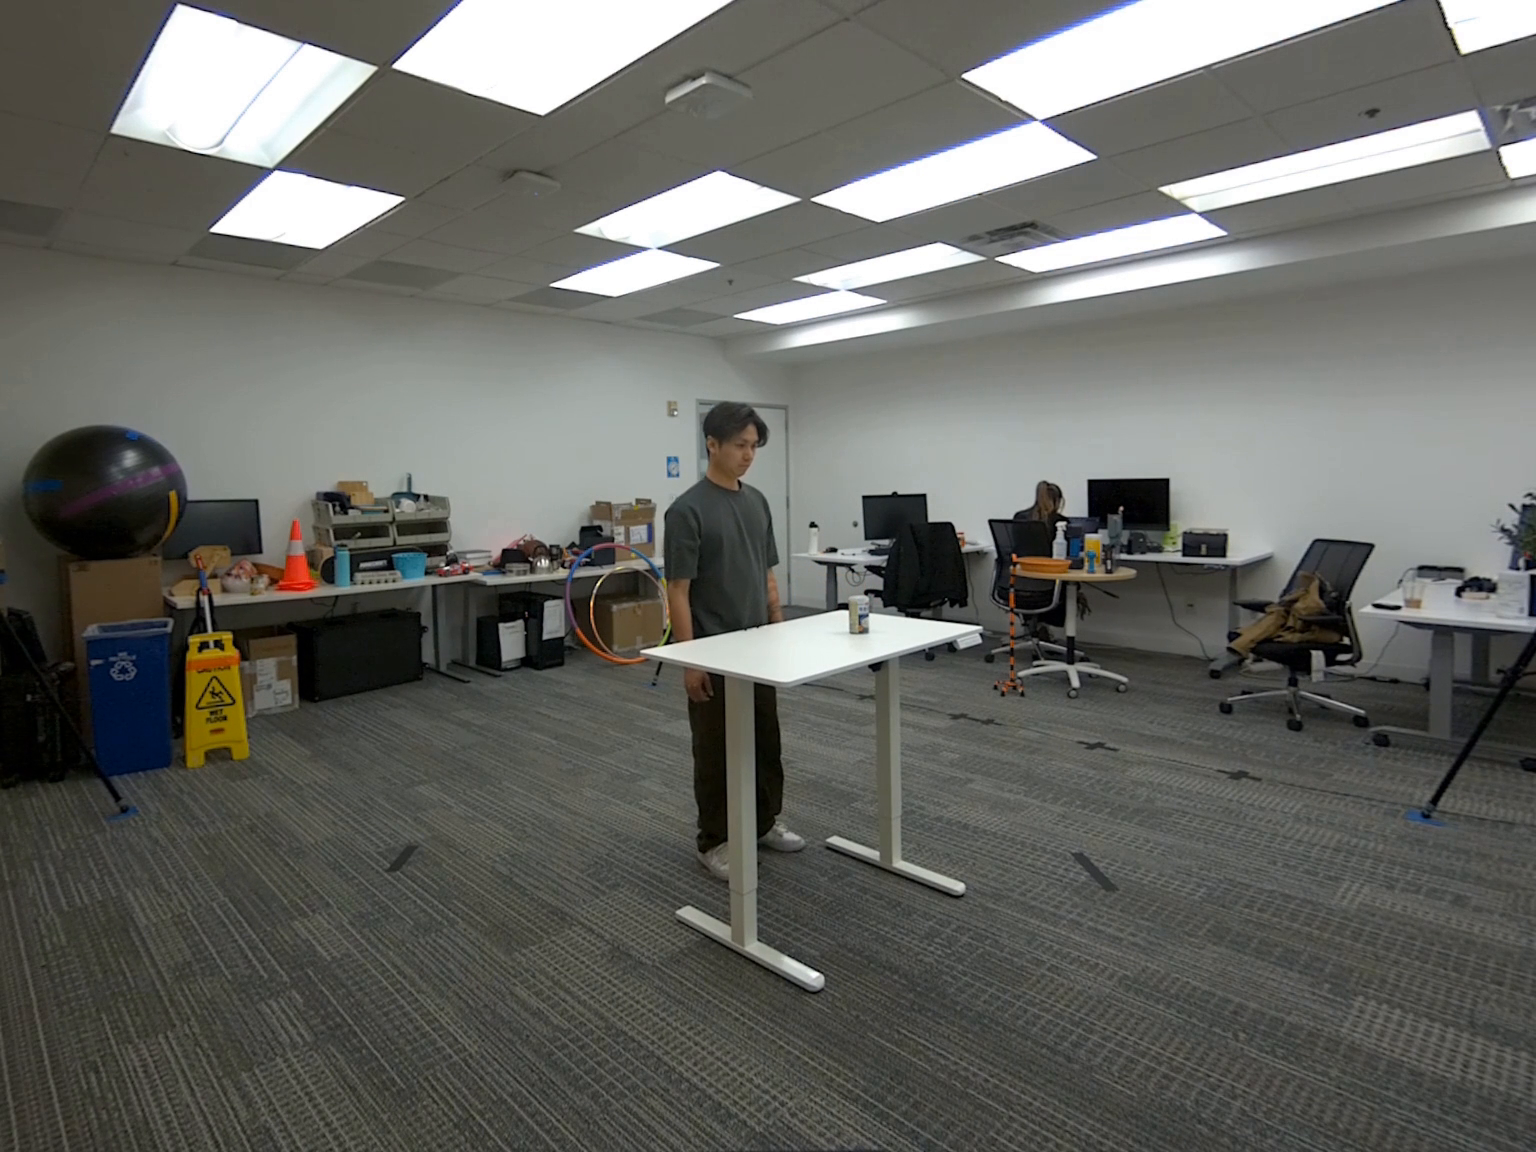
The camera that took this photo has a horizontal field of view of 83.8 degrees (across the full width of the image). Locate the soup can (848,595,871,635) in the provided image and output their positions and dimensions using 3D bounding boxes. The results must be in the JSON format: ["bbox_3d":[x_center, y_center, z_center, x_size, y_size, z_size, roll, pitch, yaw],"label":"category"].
[{"bbox_3d":[0.297,0.131,2.817,0.067,0.121,0.067,-4,2,-1],"label":"soup can"}]
